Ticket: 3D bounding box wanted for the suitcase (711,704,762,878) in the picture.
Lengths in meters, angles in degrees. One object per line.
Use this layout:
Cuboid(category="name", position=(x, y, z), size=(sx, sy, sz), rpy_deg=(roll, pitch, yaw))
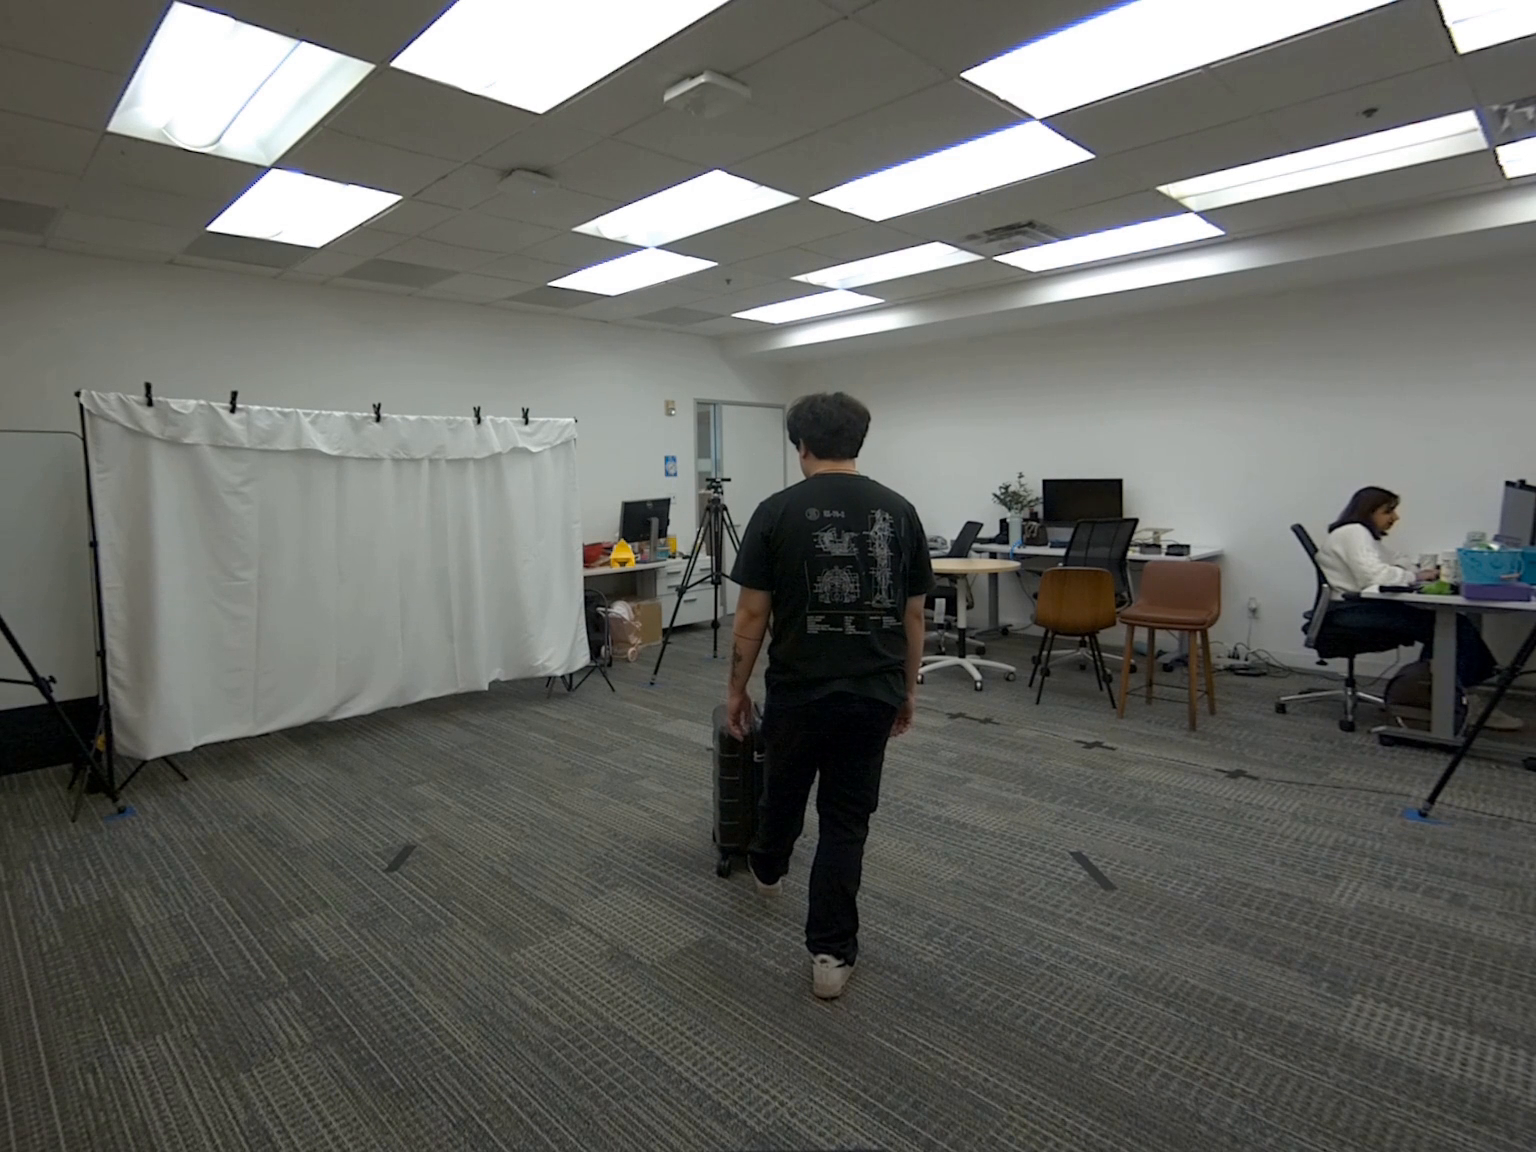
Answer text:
Cuboid(category="suitcase", position=(-0.072, 0.757, 3.171), size=(0.247, 0.547, 0.379), rpy_deg=(-1, 5, -7))
